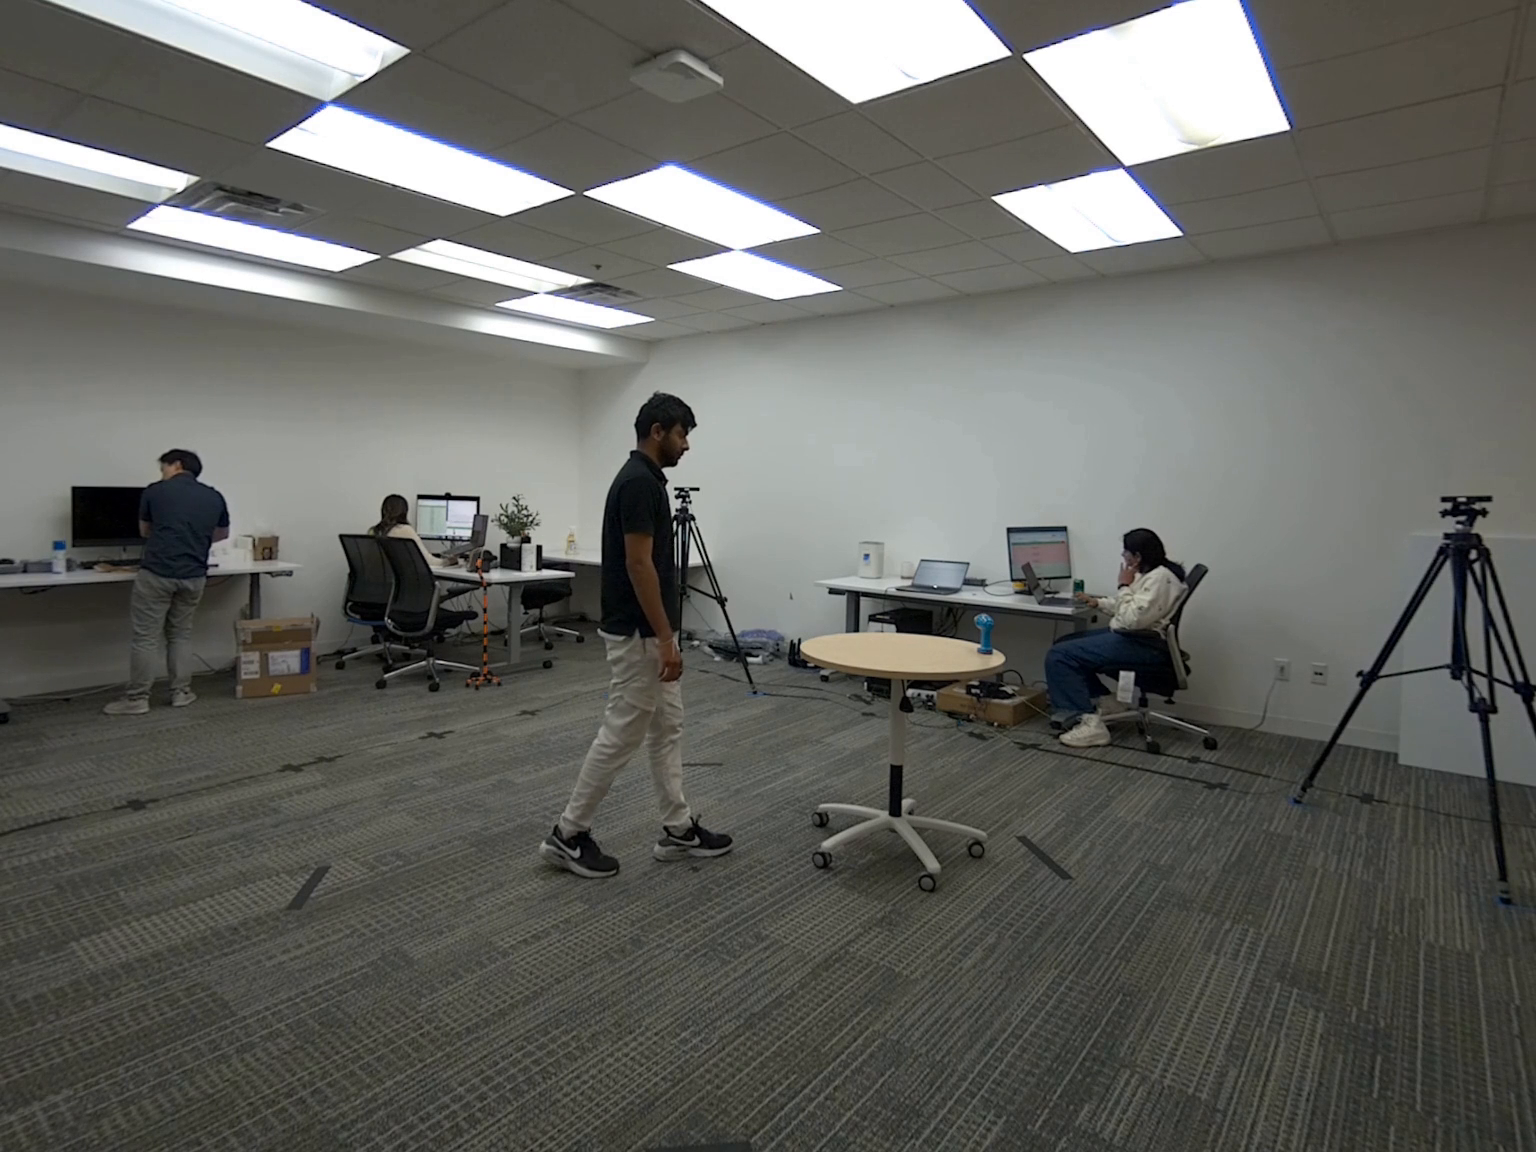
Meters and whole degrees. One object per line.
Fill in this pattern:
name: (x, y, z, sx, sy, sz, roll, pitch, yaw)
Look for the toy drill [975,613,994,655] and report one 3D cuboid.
toy drill: (0.816, 0.214, 3.274, 0.061, 0.145, 0.171, 0, 4, -6)
